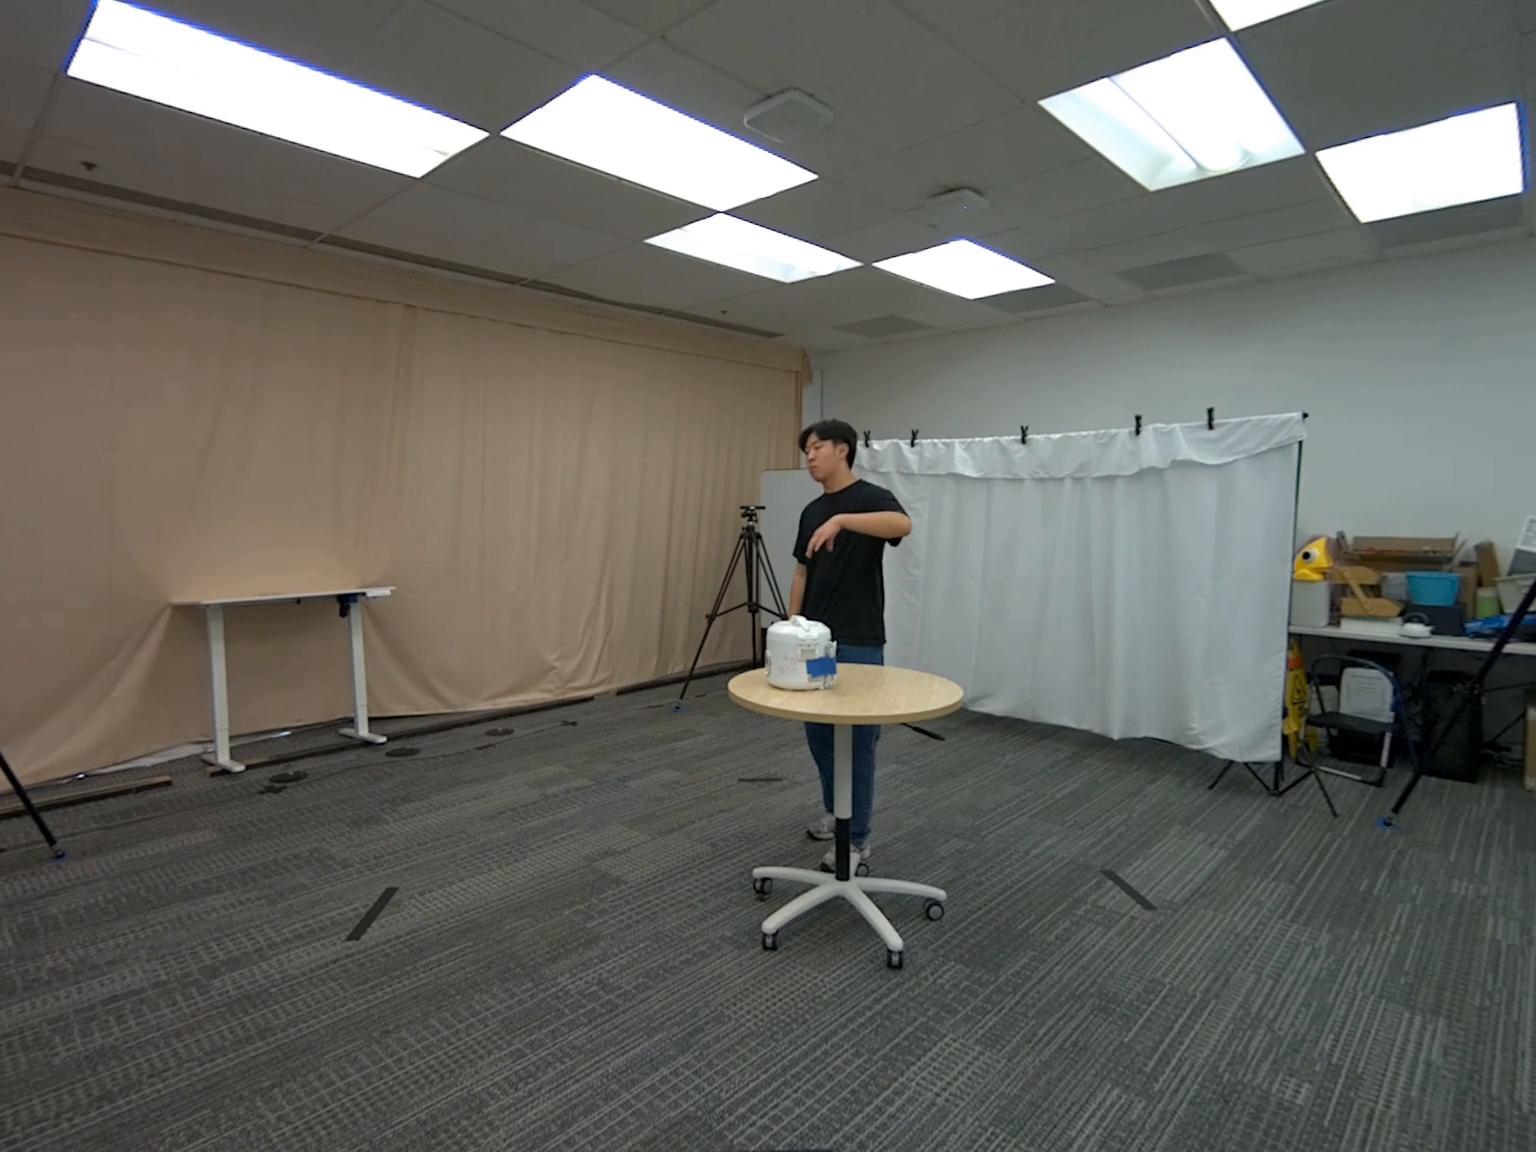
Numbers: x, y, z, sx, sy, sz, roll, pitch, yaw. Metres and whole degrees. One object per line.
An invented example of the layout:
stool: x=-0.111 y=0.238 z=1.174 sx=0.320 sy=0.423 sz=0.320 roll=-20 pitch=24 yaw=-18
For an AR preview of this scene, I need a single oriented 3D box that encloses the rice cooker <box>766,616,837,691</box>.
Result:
rice cooker: x=0.100 y=0.246 z=2.783 sx=0.214 sy=0.232 sz=0.224 roll=0 pitch=3 yaw=-13
